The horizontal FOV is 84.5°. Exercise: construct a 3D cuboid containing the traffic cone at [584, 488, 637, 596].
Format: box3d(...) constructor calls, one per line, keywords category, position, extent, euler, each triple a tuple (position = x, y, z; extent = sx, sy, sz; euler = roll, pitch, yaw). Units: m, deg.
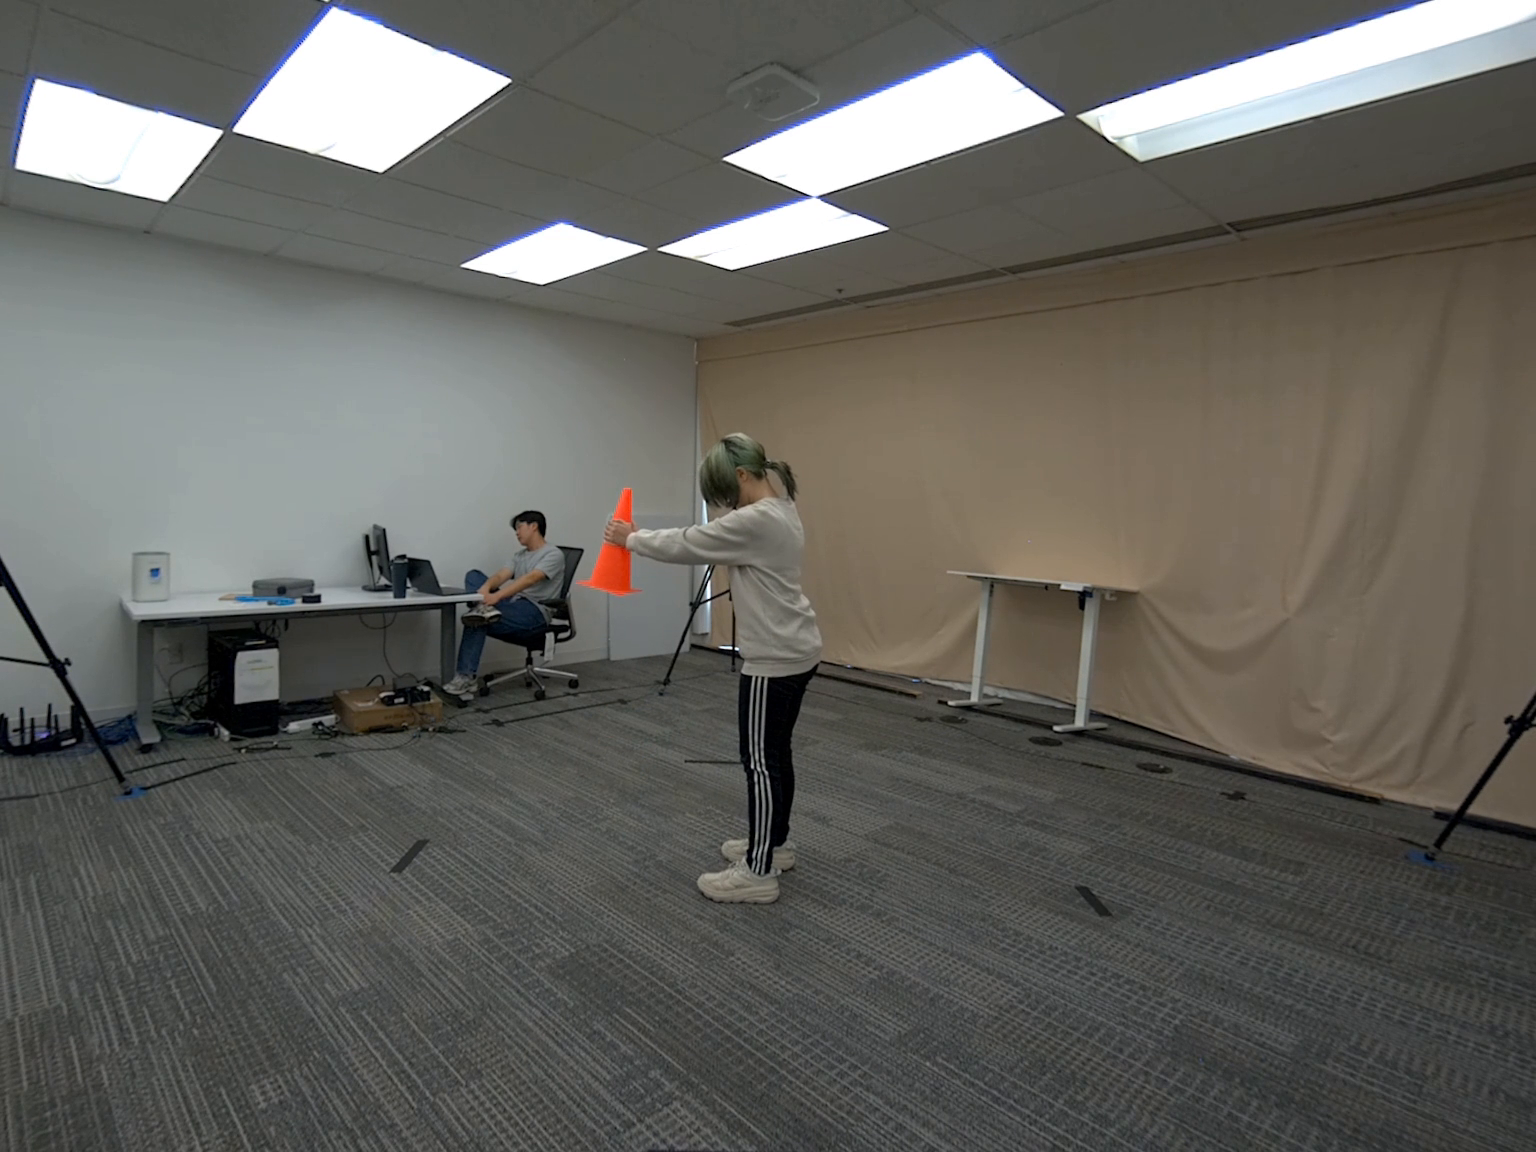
box3d(category="traffic cone", position=(-0.566, -0.138, 3.185), extent=(0.206, 0.382, 0.202), euler=(11, 6, 16))
